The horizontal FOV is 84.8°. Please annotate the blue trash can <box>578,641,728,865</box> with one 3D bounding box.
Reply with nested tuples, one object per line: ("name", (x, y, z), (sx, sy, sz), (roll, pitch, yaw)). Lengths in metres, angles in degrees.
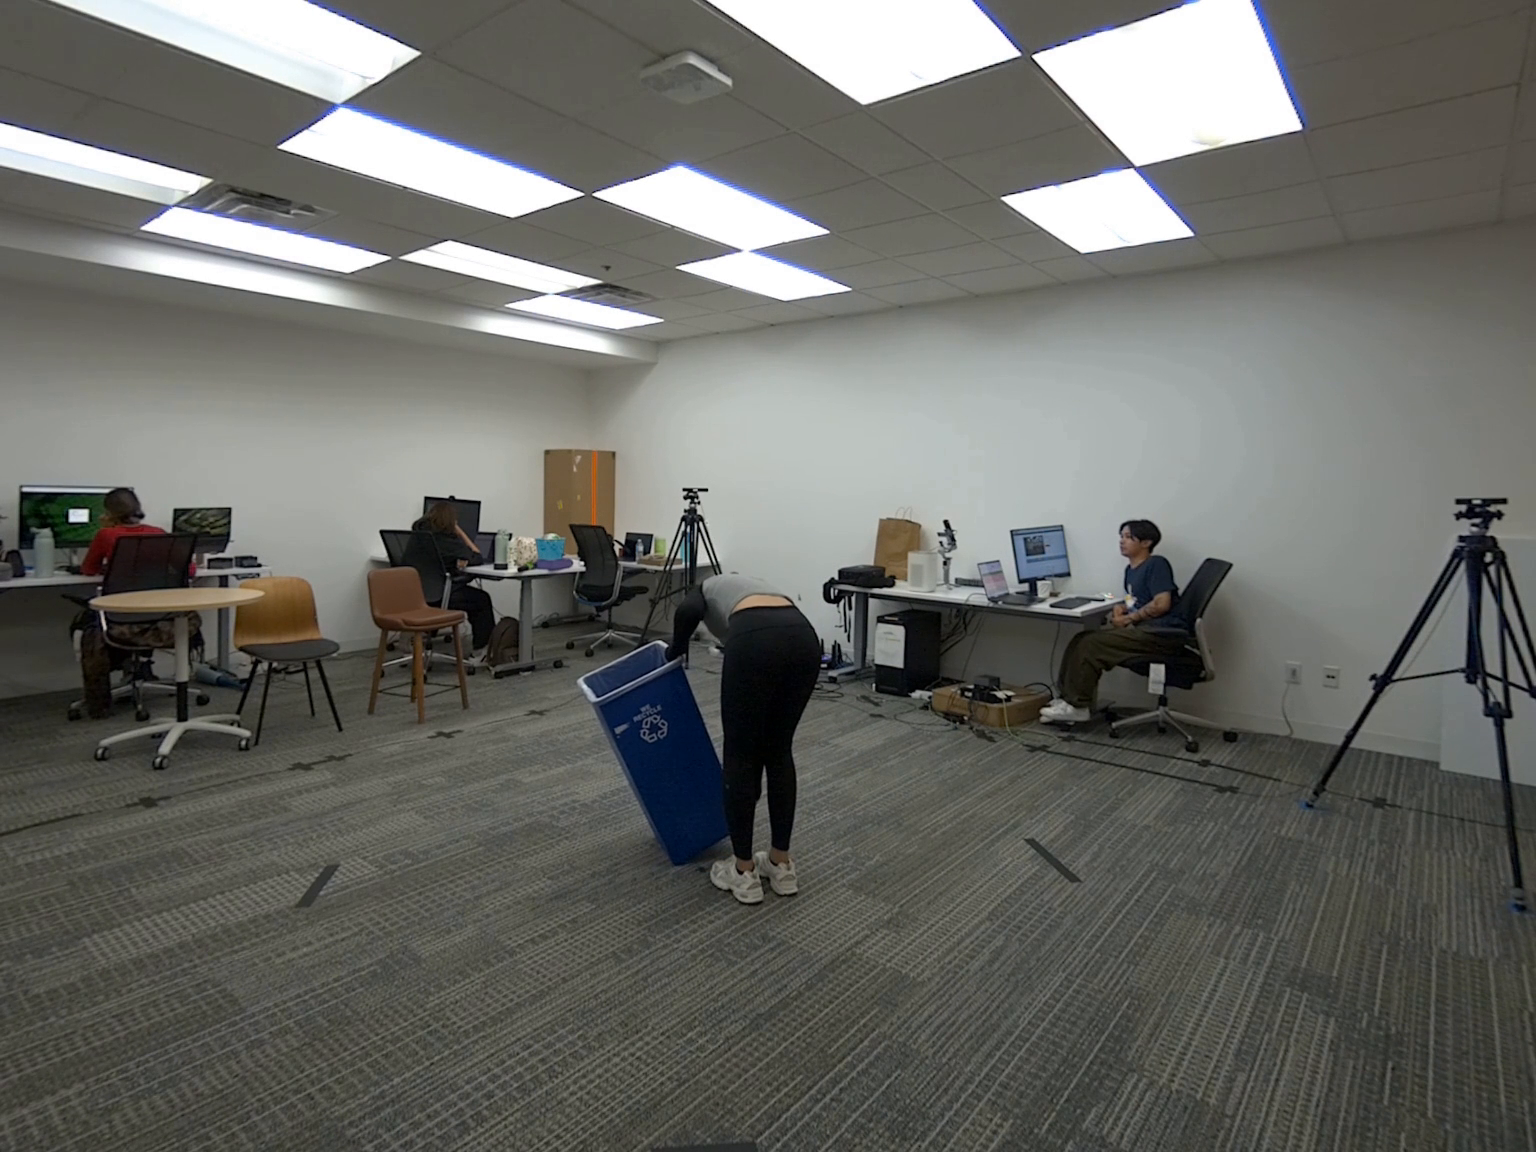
("blue trash can", (-0.403, 0.662, 3.249), (0.370, 0.703, 0.387), (-25, 12, -18))
